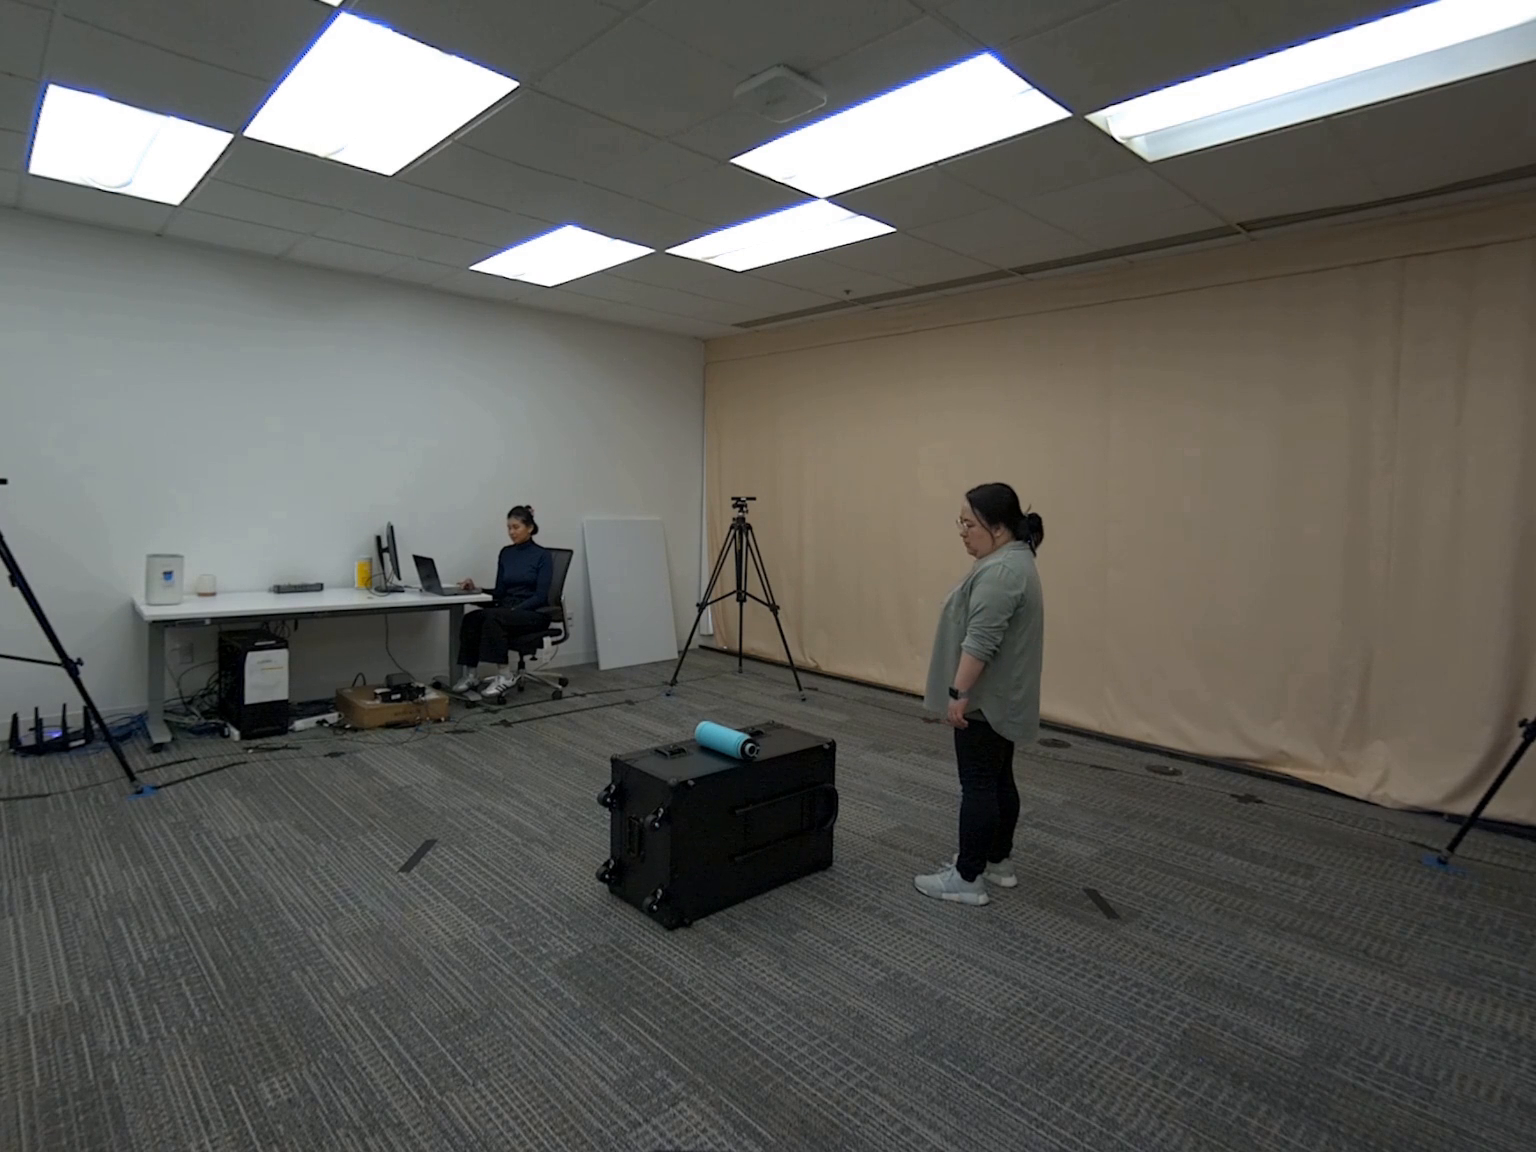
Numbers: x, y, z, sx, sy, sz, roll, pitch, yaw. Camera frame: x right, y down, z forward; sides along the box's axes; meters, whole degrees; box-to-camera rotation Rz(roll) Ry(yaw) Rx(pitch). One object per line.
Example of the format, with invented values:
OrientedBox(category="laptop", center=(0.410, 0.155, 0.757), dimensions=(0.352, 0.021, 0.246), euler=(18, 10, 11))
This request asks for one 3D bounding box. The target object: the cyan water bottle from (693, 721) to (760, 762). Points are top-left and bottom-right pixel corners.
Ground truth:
OrientedBox(category="cyan water bottle", center=(-0.145, 0.583, 2.994), dimensions=(0.090, 0.092, 0.291), euler=(-2, 6, -43))
